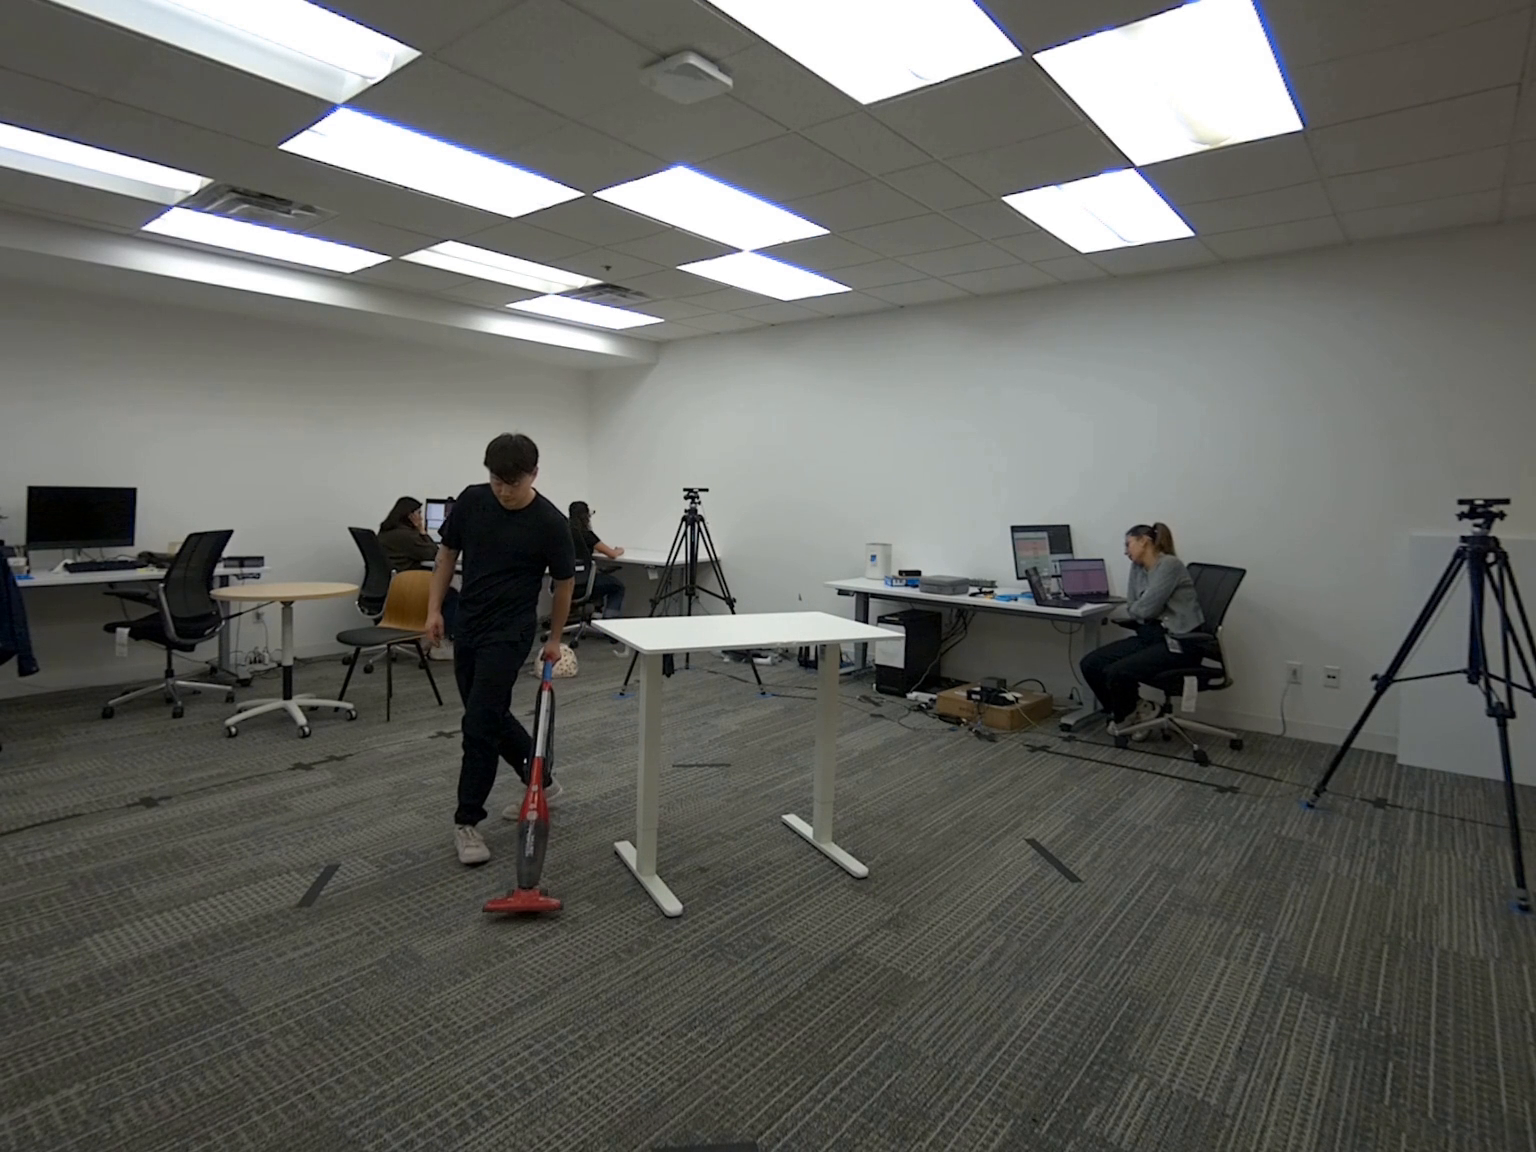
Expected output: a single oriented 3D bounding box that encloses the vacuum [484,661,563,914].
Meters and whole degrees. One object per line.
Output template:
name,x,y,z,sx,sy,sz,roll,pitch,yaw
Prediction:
vacuum,-0.848,0.704,3.135,0.250,0.140,1.083,1,44,-8
